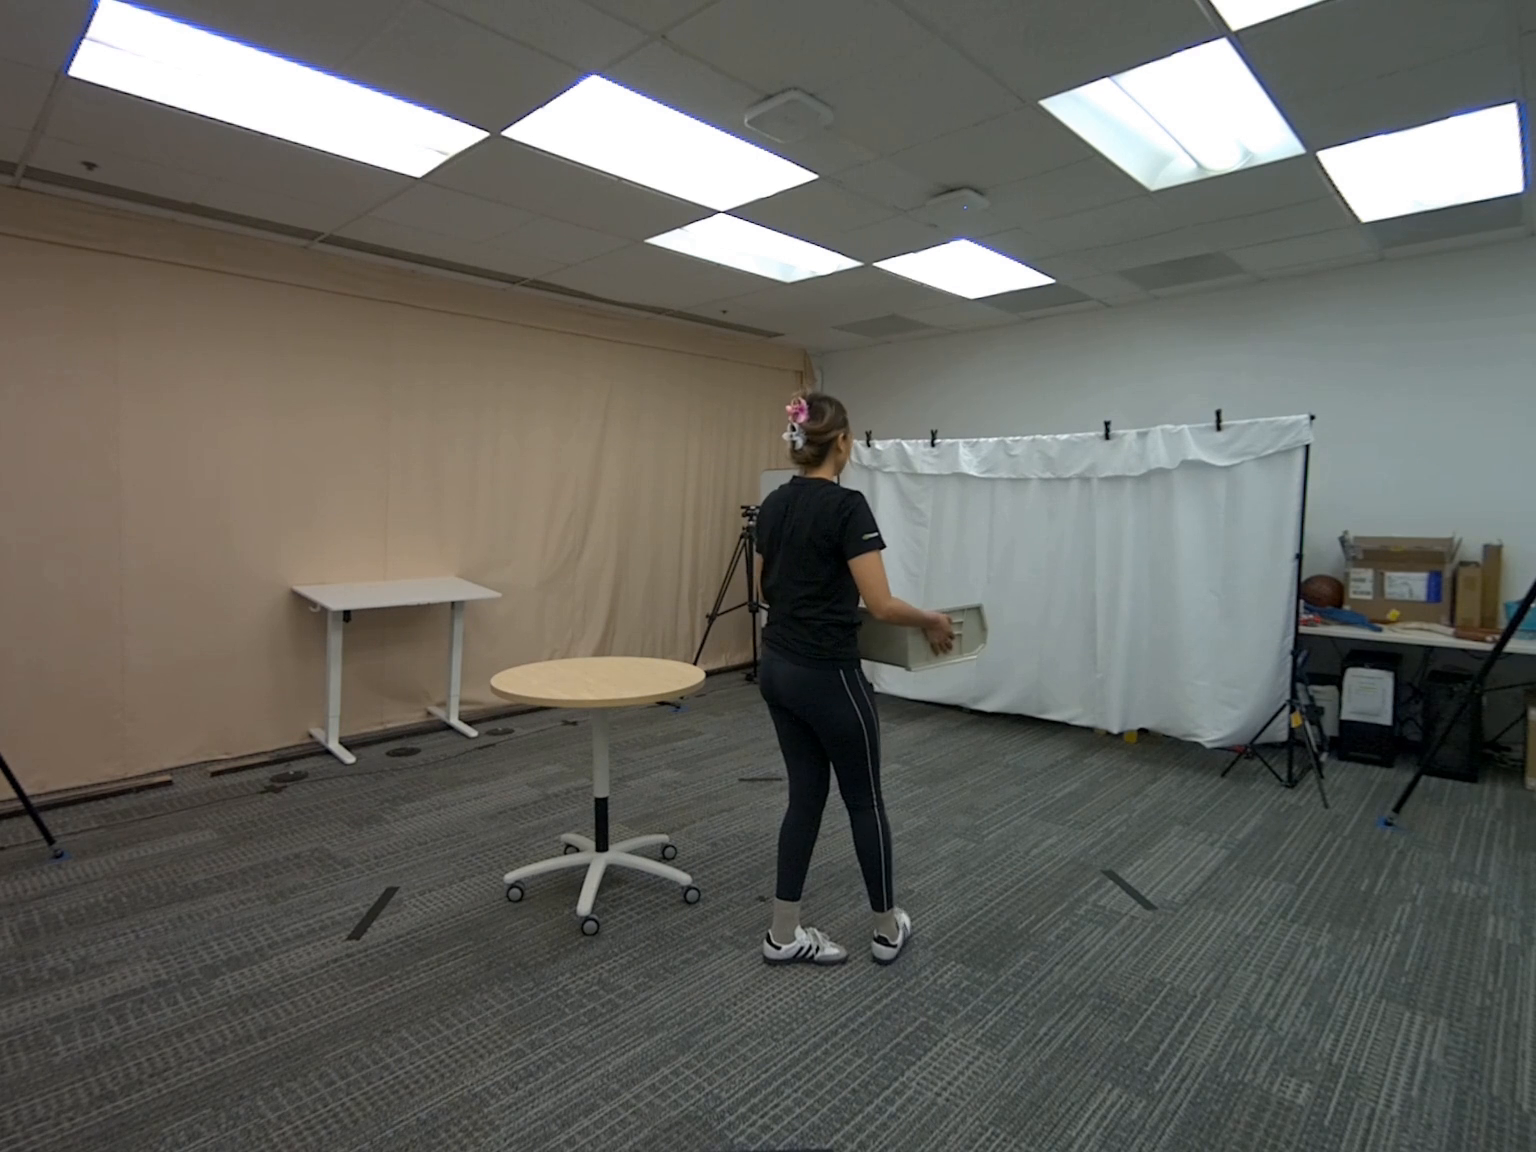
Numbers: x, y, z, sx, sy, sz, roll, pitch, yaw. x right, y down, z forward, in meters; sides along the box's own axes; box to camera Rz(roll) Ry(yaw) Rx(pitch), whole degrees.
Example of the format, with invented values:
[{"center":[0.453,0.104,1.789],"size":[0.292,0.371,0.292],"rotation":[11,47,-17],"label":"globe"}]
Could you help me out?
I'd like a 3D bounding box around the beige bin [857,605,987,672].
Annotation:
[{"center":[0.435,0.172,2.757],"size":[0.366,0.188,0.436],"rotation":[-6,8,-39],"label":"beige bin"}]
